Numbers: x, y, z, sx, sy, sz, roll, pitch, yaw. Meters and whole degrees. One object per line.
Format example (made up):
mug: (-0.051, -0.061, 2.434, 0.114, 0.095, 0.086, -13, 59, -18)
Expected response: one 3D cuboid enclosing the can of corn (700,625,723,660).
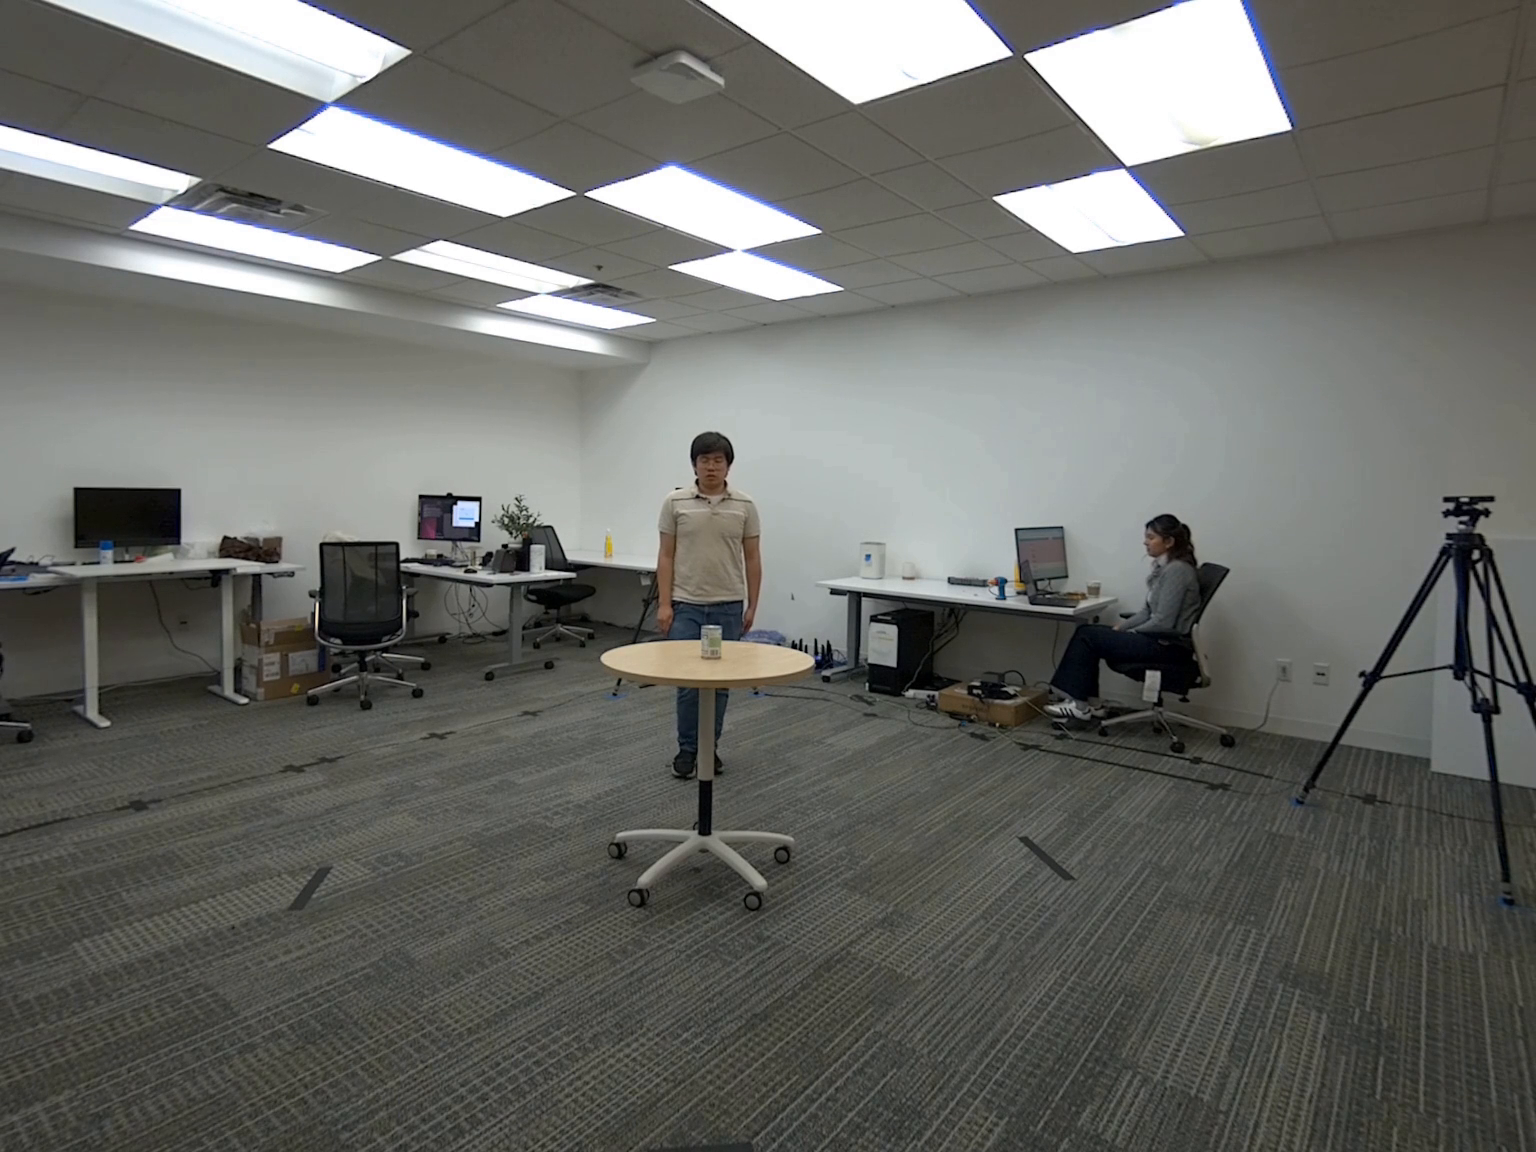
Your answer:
can of corn: (-0.214, 0.231, 3.052, 0.074, 0.111, 0.074, 0, 2, -2)
